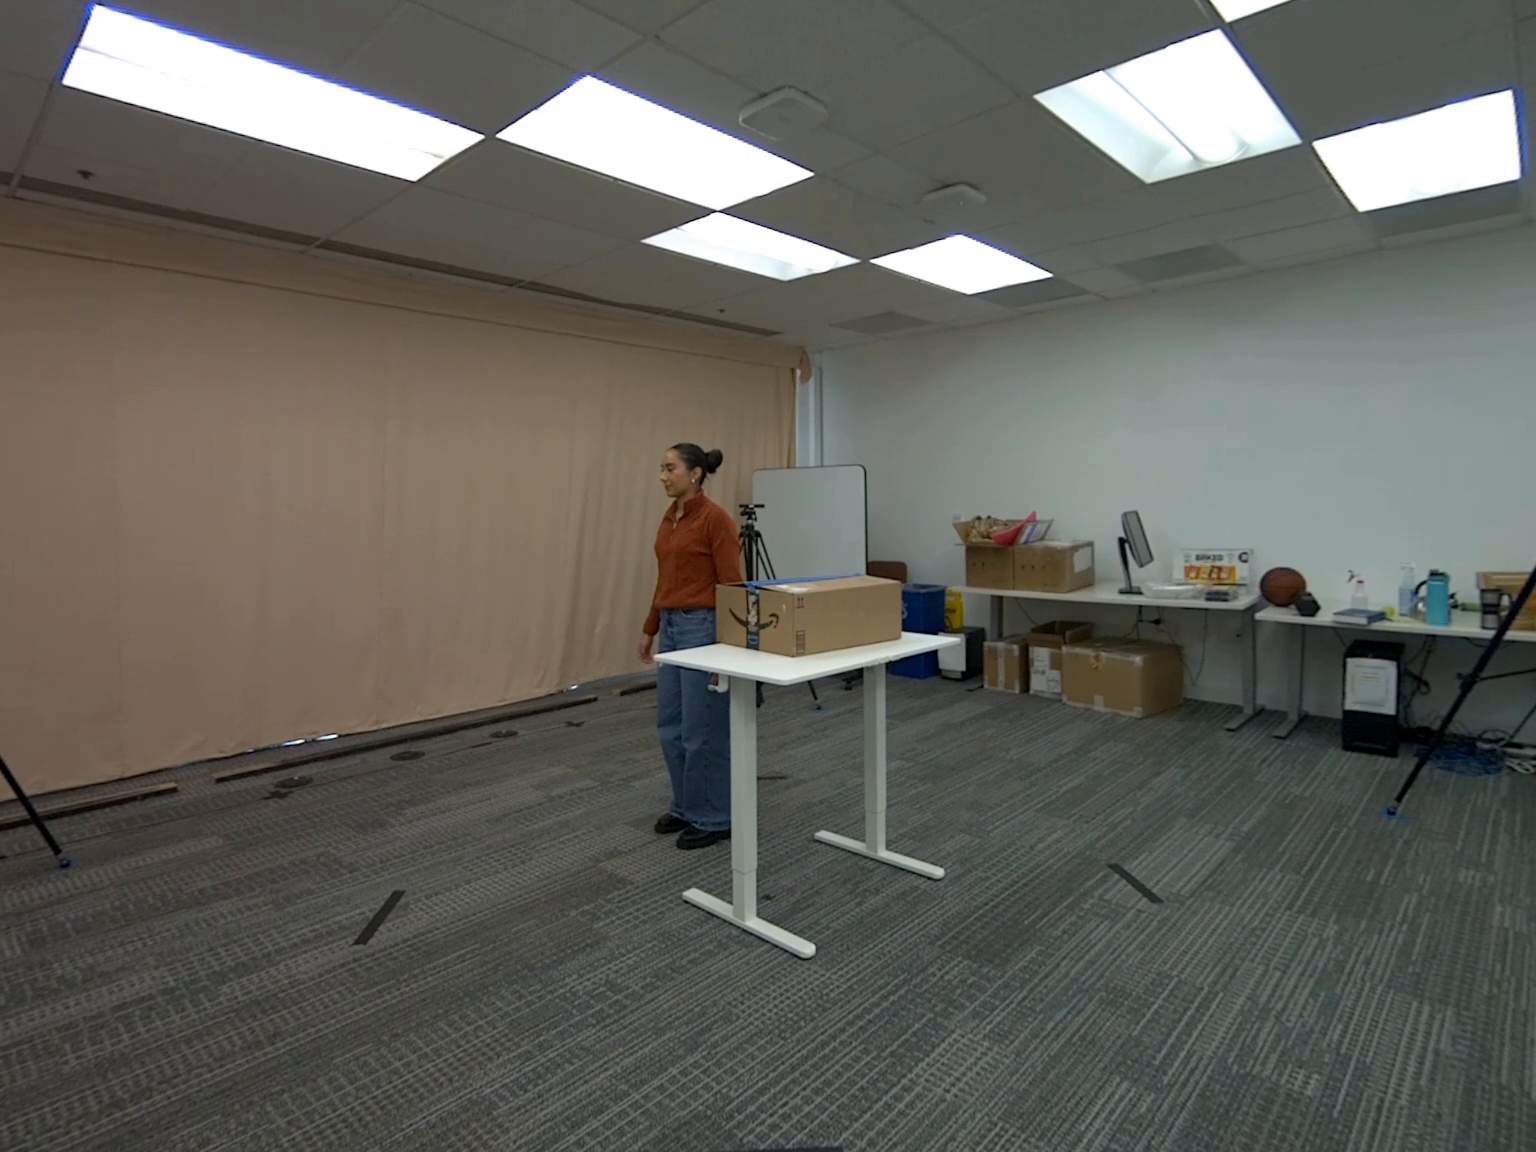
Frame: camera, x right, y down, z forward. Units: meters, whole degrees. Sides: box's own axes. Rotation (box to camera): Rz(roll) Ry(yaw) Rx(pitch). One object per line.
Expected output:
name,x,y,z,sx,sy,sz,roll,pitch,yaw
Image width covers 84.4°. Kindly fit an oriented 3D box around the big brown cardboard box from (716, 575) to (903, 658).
big brown cardboard box,0.154,0.134,3.123,0.571,0.232,0.431,-4,5,-41
